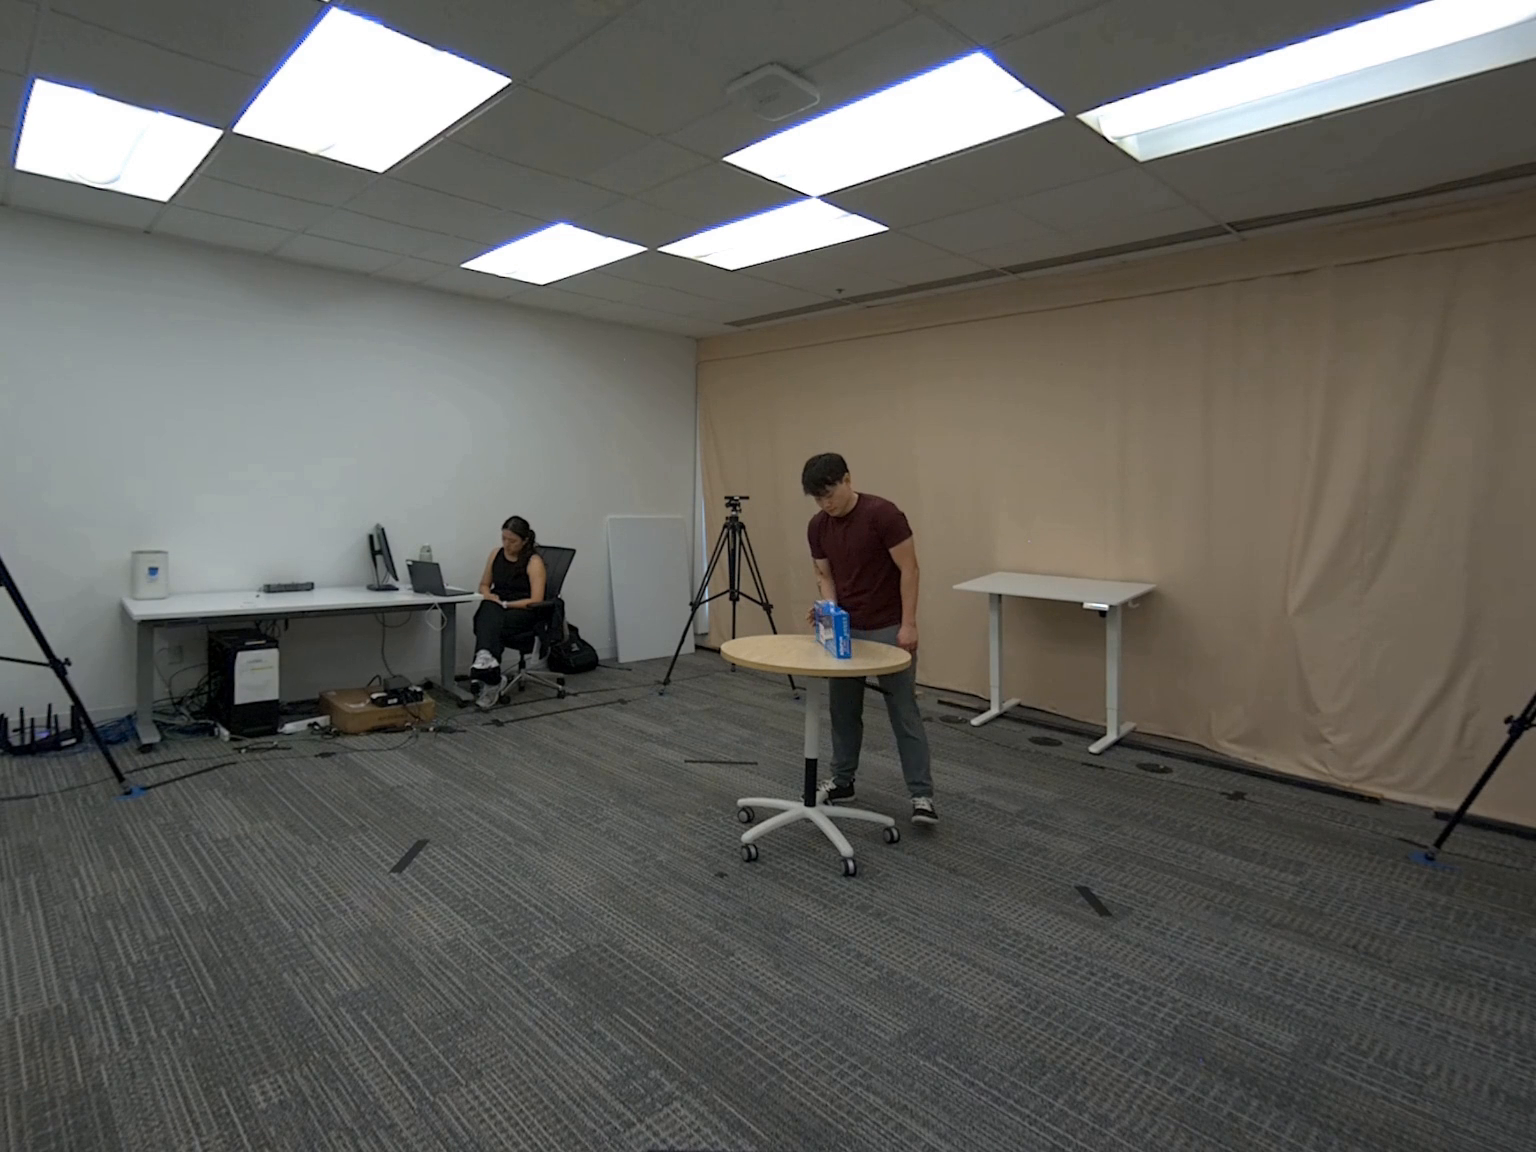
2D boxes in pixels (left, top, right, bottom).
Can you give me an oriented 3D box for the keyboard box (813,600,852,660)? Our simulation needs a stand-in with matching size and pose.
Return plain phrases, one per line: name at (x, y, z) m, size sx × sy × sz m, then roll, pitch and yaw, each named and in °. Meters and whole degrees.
keyboard box at (0.251, 0.214, 3.457) m, size 0.059 × 0.175 × 0.440 m, roll -3°, pitch 6°, yaw -7°
